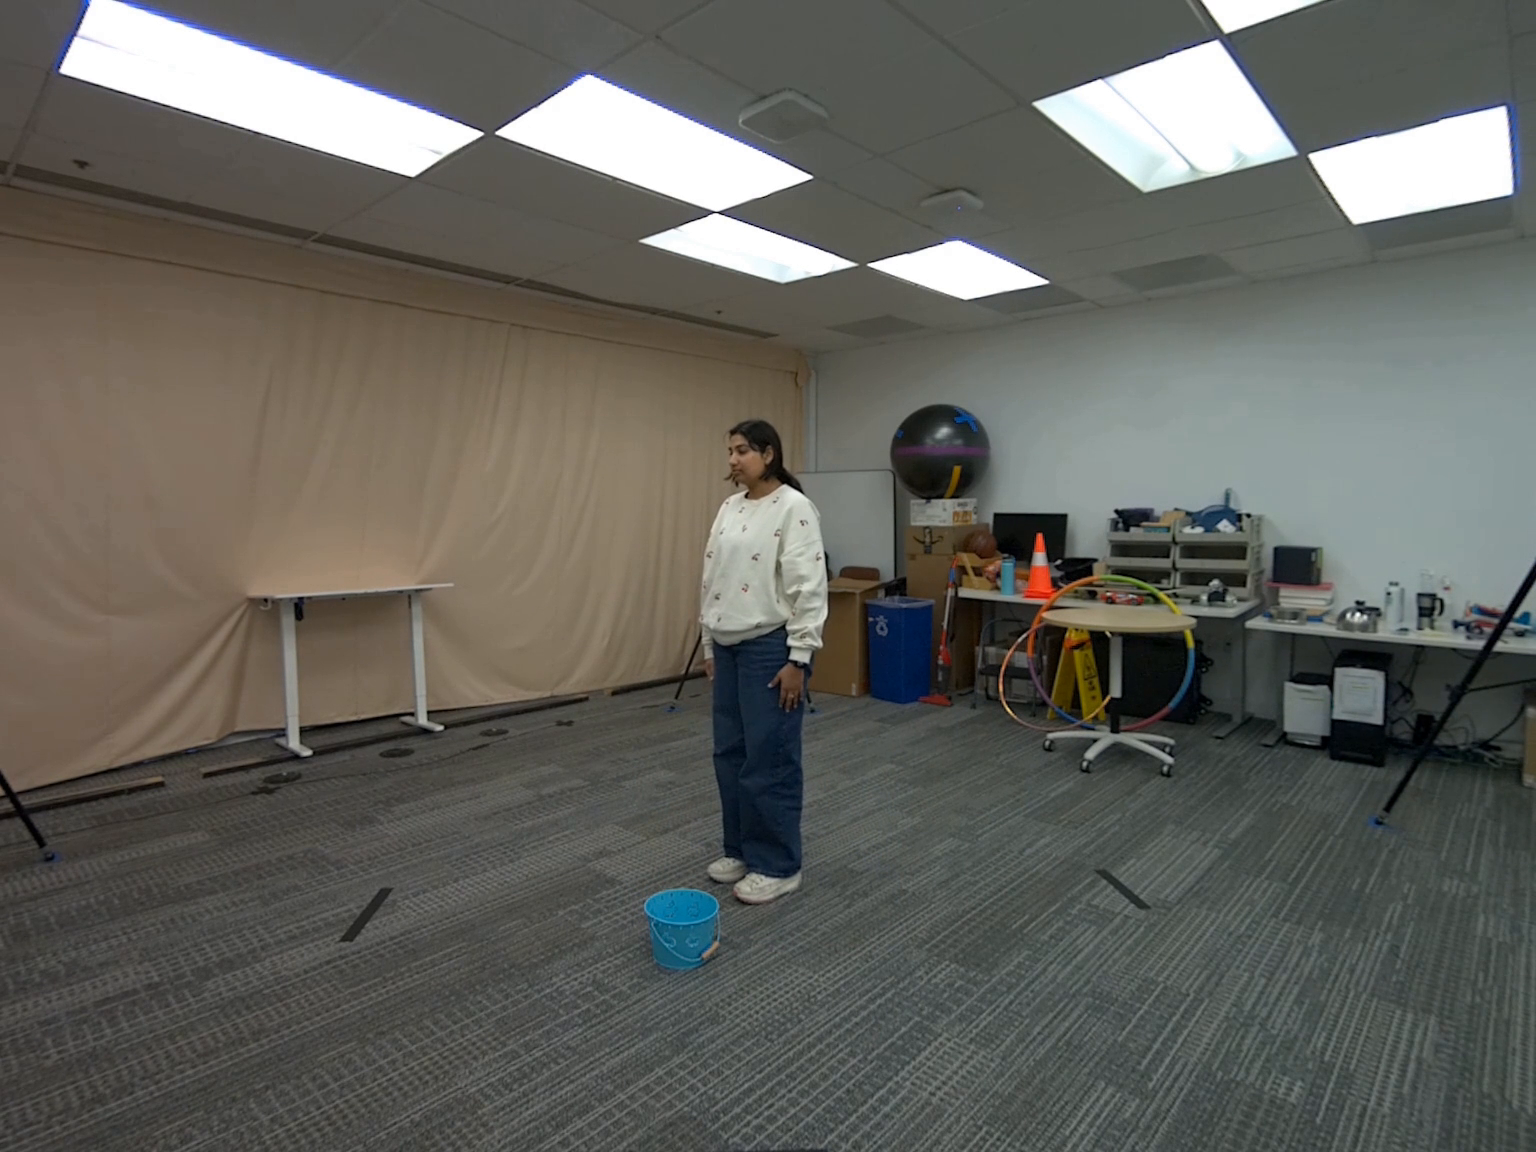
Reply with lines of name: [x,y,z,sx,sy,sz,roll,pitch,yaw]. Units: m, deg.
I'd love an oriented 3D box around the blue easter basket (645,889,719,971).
blue easter basket: [-0.263,1.097,2.609,0.243,0.155,0.244,-1,3,-2]
